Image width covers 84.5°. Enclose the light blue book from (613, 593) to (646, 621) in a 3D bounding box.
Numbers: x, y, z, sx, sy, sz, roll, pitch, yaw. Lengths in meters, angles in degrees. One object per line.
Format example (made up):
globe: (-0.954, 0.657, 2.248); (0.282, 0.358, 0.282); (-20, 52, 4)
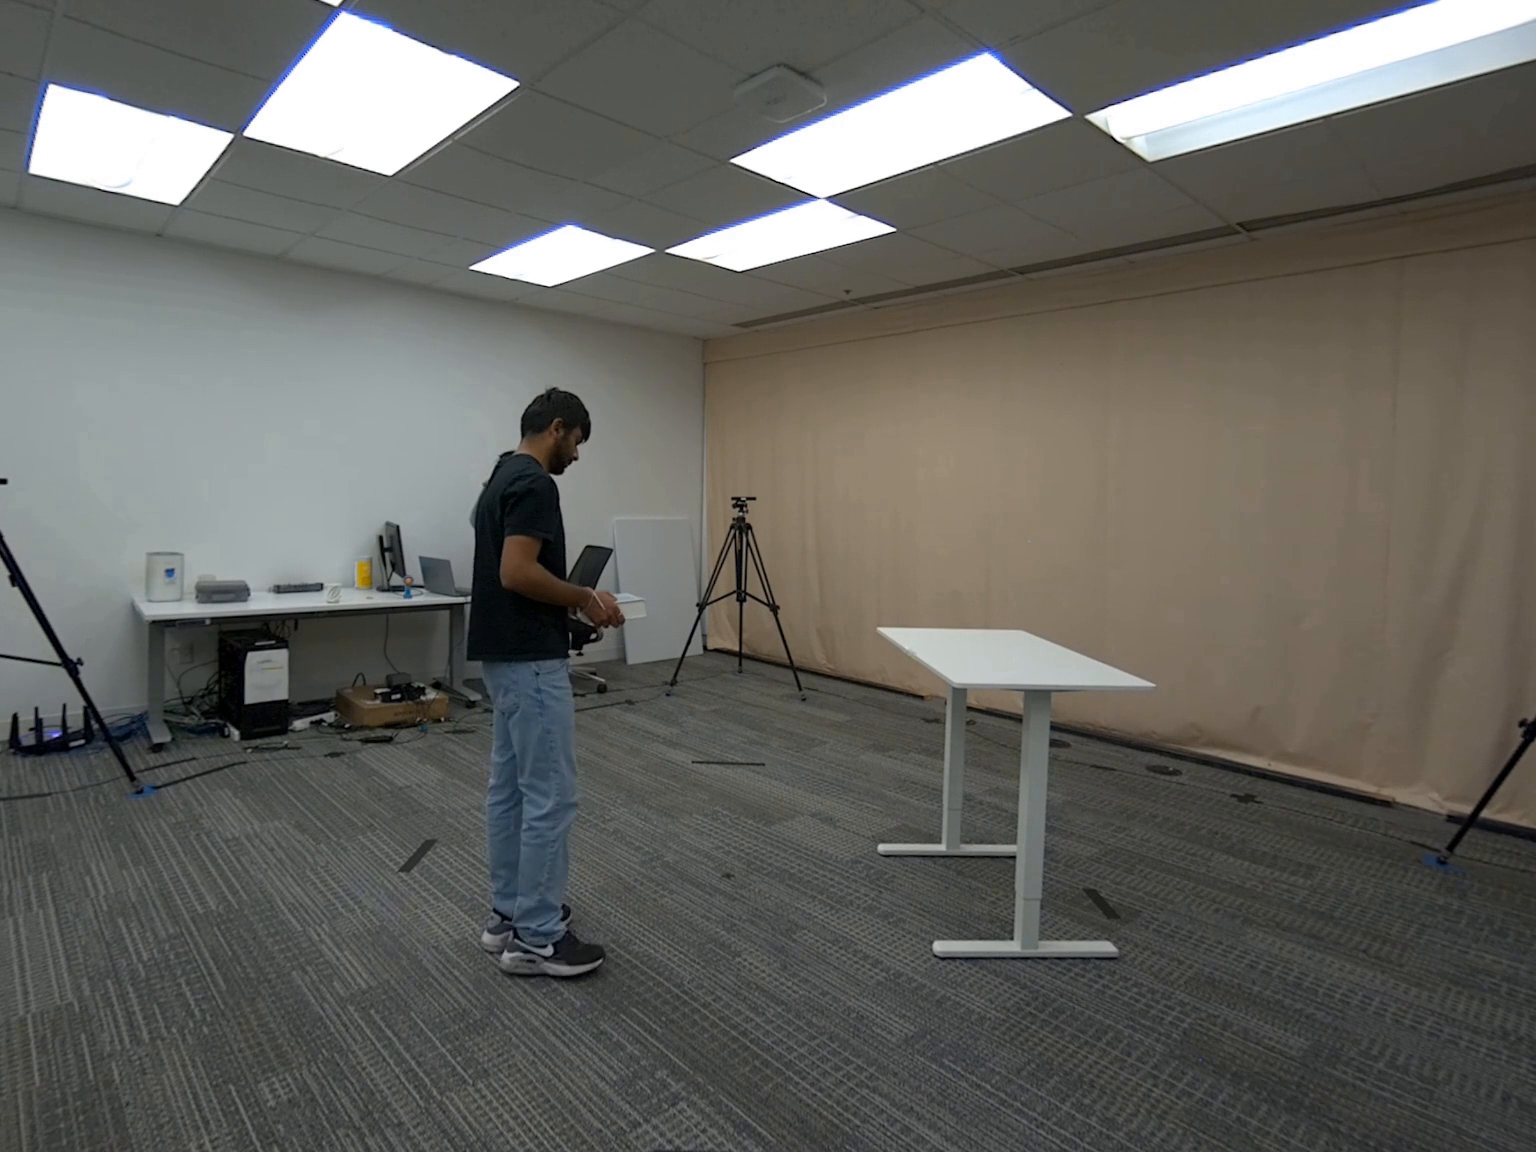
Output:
light blue book: (-0.519, 0.103, 2.690); (0.189, 0.059, 0.264); (-5, 6, -14)
